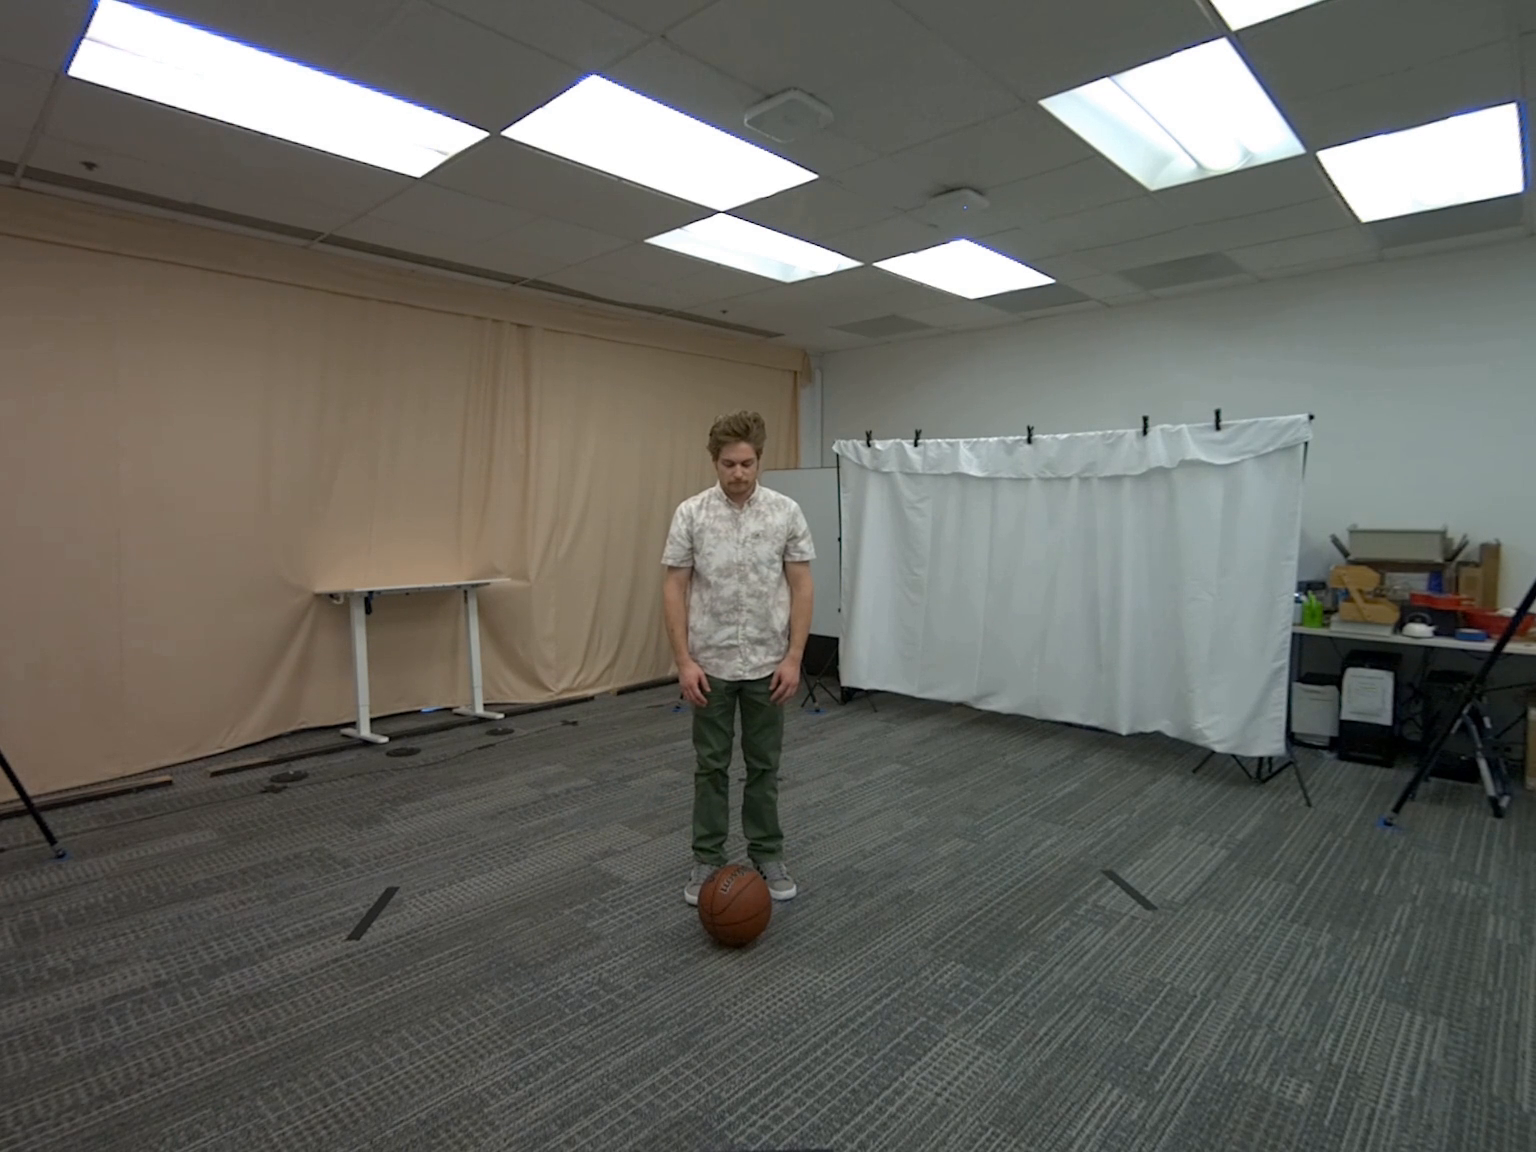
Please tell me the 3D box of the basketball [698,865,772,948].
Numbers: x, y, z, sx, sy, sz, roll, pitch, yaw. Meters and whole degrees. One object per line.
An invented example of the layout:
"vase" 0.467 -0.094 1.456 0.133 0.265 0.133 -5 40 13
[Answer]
"basketball" -0.110 1.043 2.694 0.236 0.235 0.237 0 4 -2
